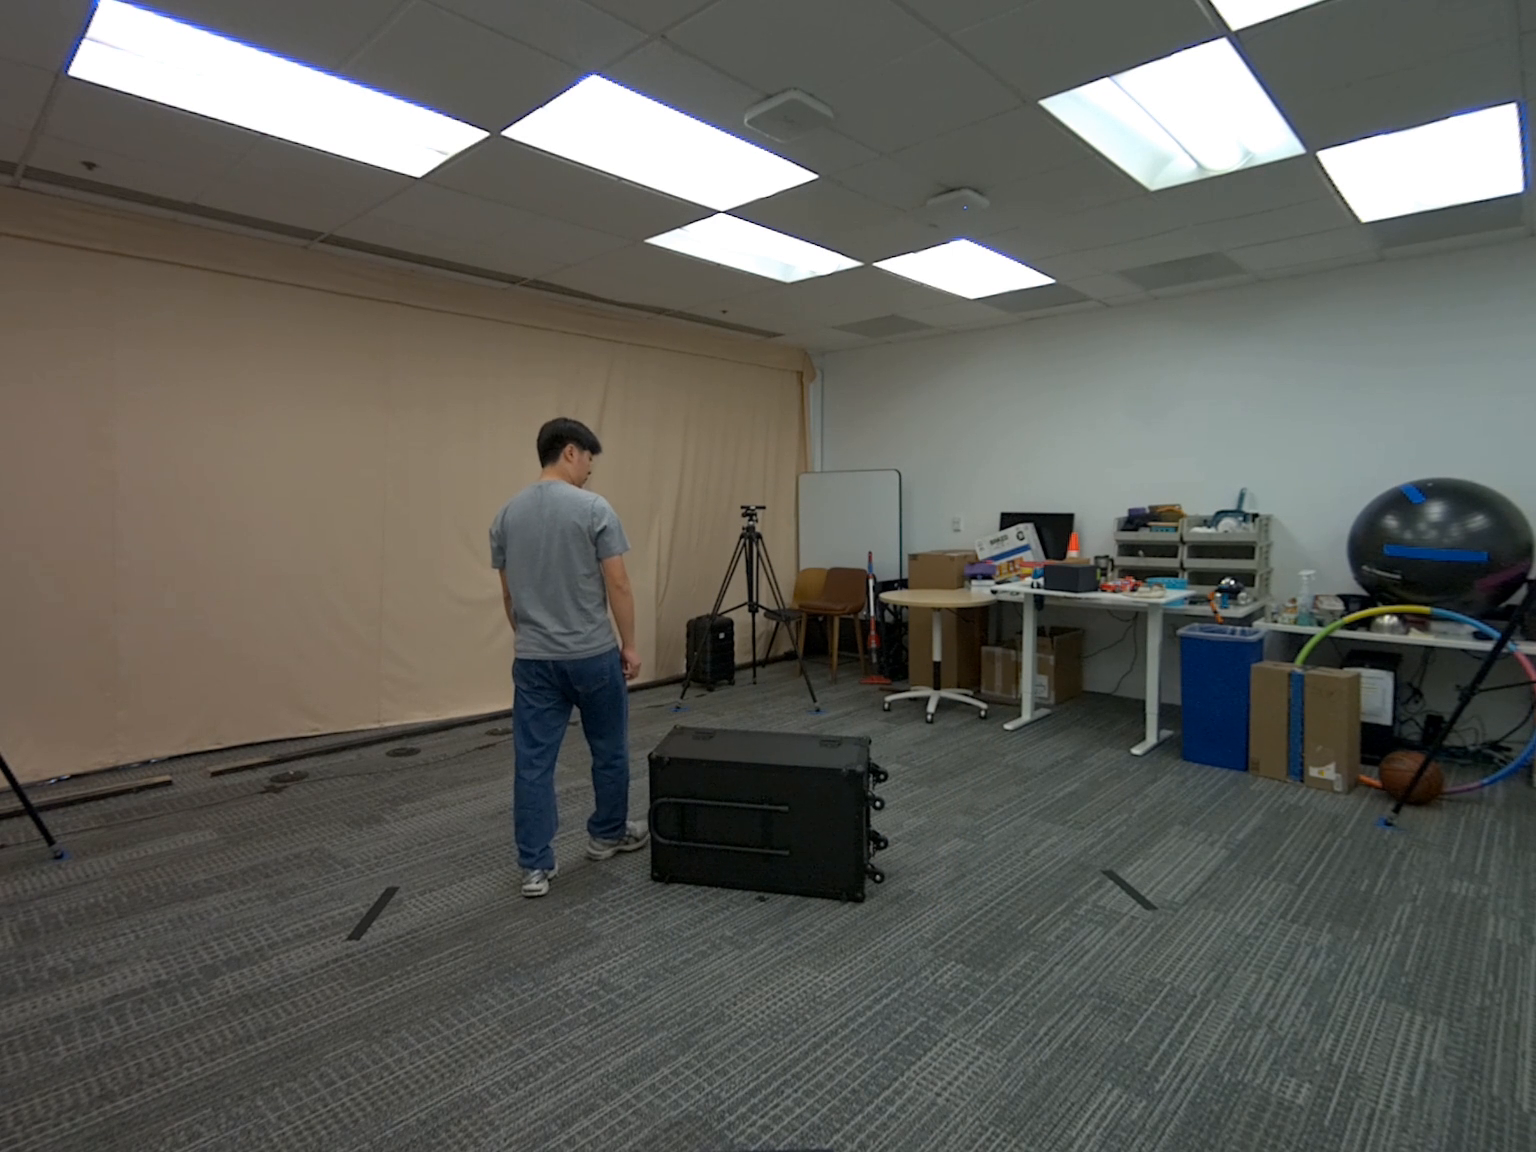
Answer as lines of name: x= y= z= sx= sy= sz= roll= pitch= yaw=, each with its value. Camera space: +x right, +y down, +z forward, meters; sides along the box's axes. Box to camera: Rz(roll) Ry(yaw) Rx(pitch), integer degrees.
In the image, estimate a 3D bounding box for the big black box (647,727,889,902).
big black box: x=0.014 y=0.874 z=3.159 sx=0.874 sy=0.519 sz=0.392 roll=1 pitch=7 yaw=13
